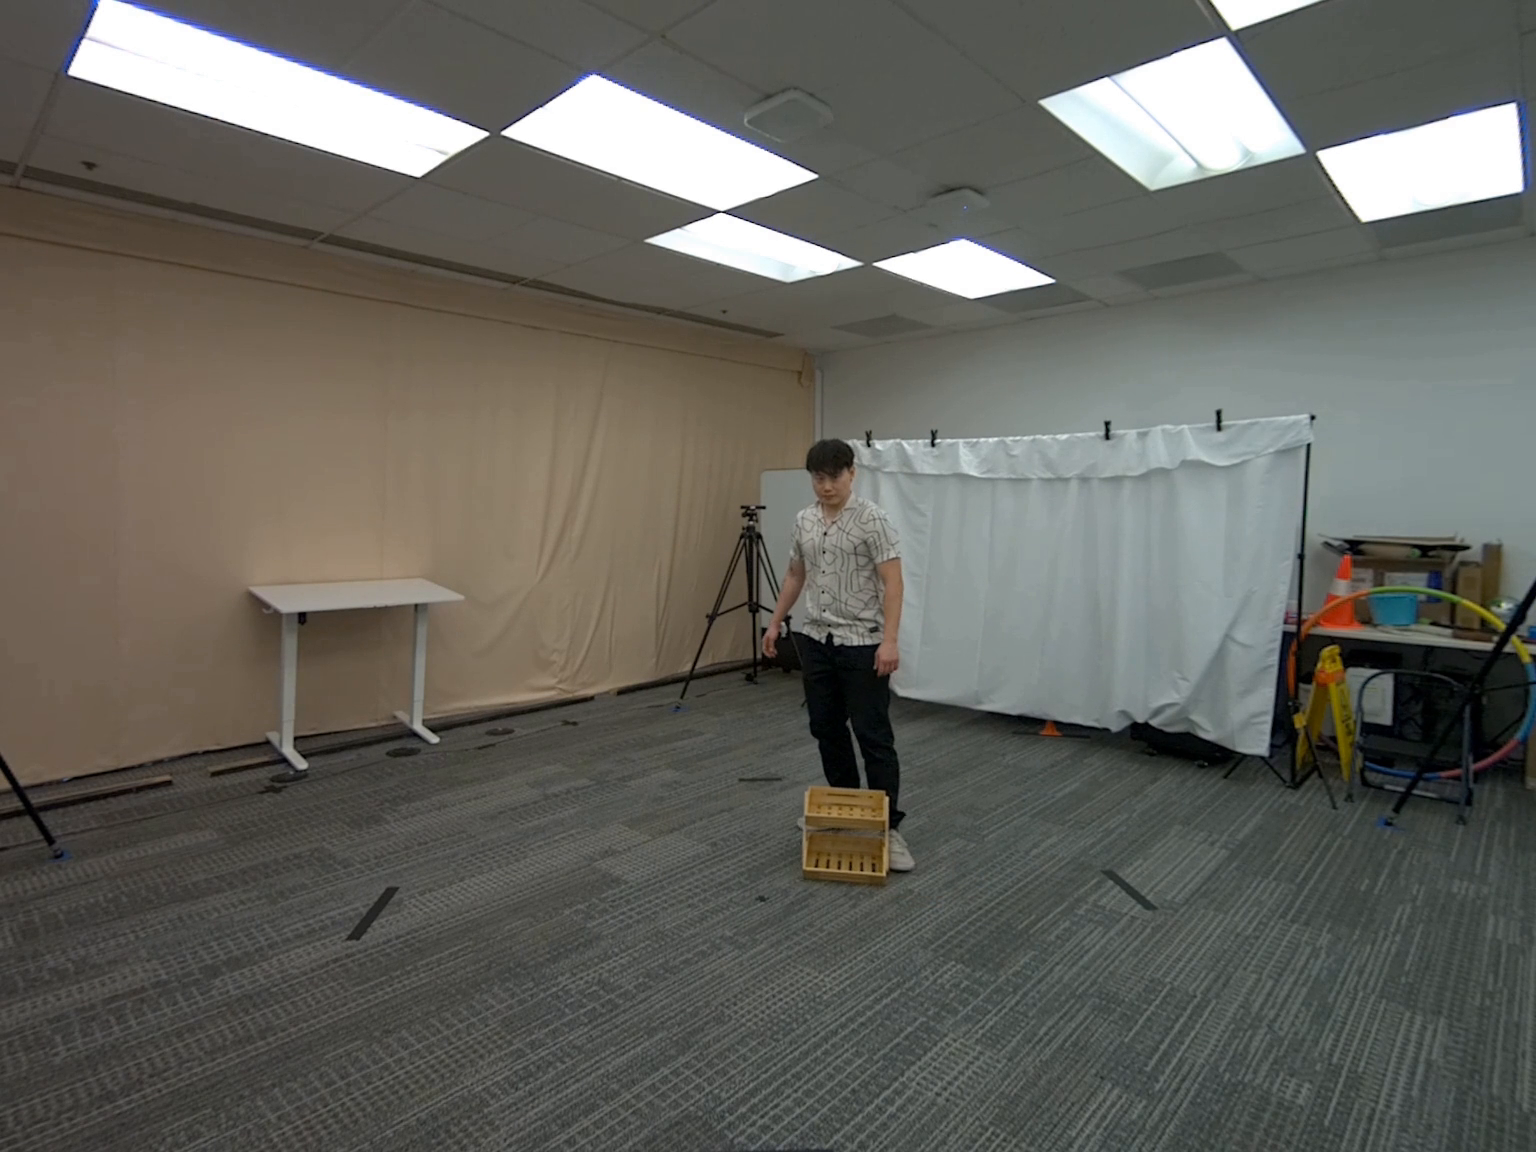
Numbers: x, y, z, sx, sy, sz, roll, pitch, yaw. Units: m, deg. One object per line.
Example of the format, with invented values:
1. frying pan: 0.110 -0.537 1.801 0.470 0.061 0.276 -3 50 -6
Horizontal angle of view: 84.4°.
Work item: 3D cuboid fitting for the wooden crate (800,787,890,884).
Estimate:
1. wooden crate: 0.300 0.986 3.224 0.328 0.273 0.299 1 3 8
